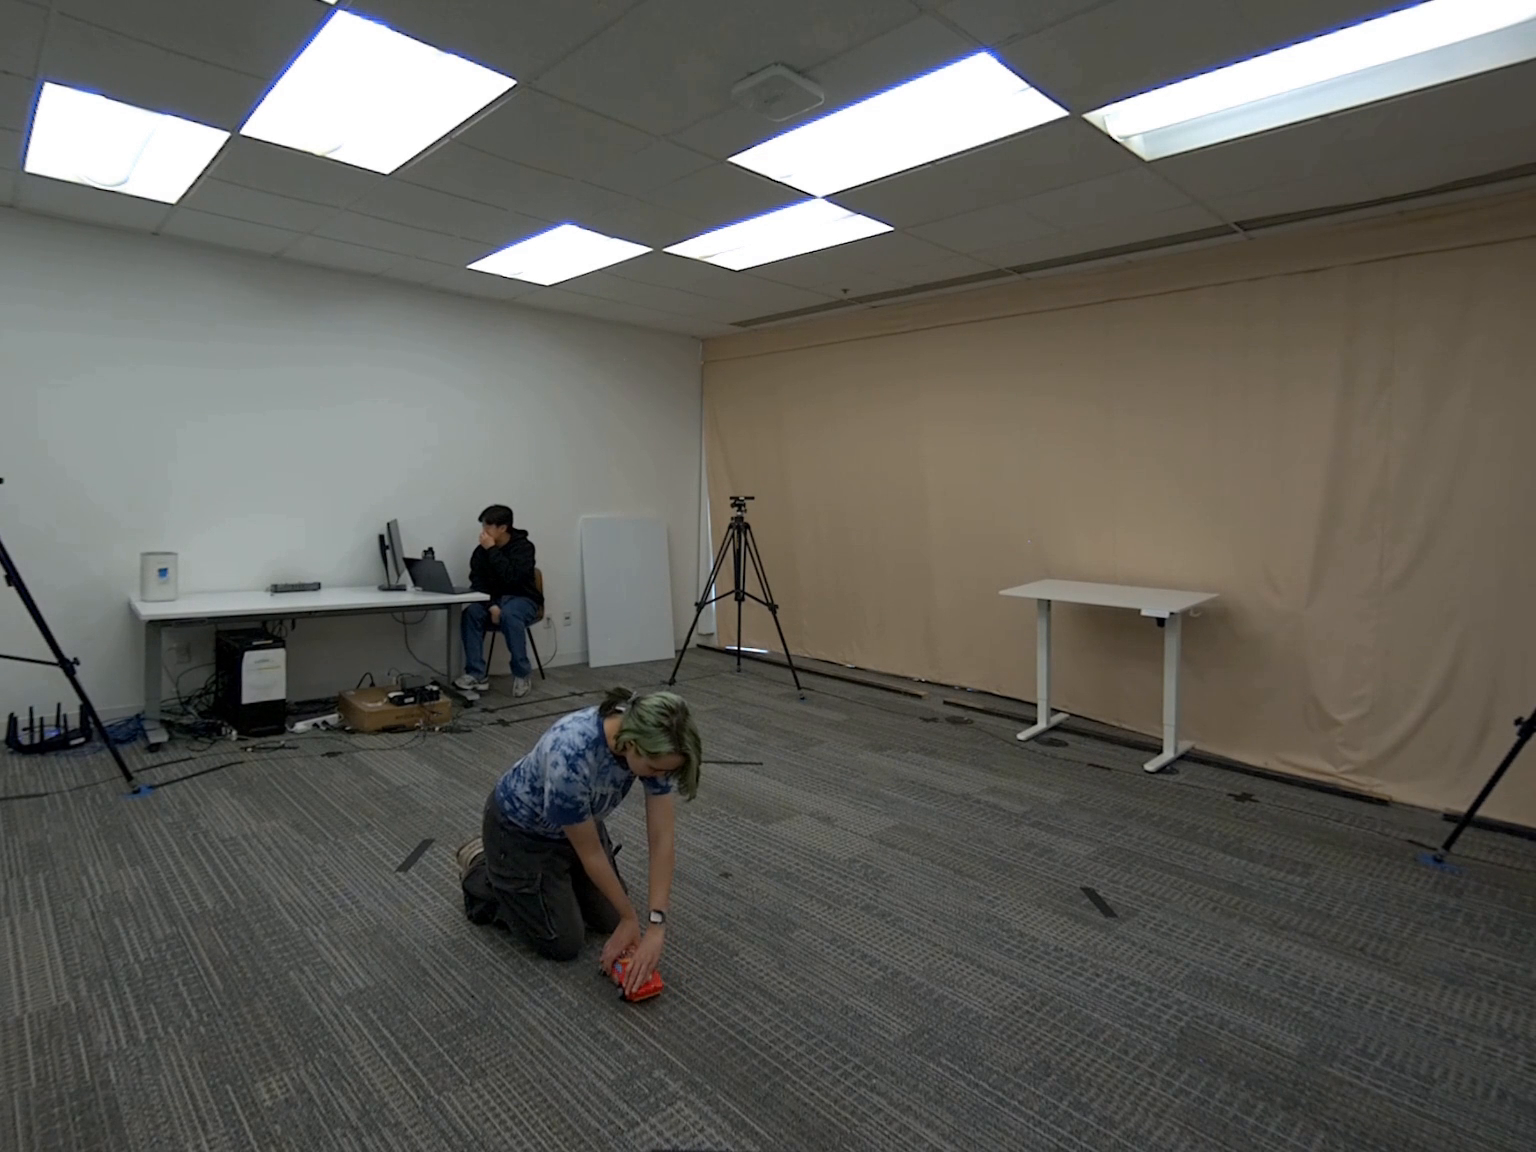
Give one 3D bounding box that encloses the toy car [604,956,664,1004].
[{"bbox_3d":[-0.395,1.141,2.368,0.128,0.083,0.259,-4,-4,-33],"label":"toy car"}]
